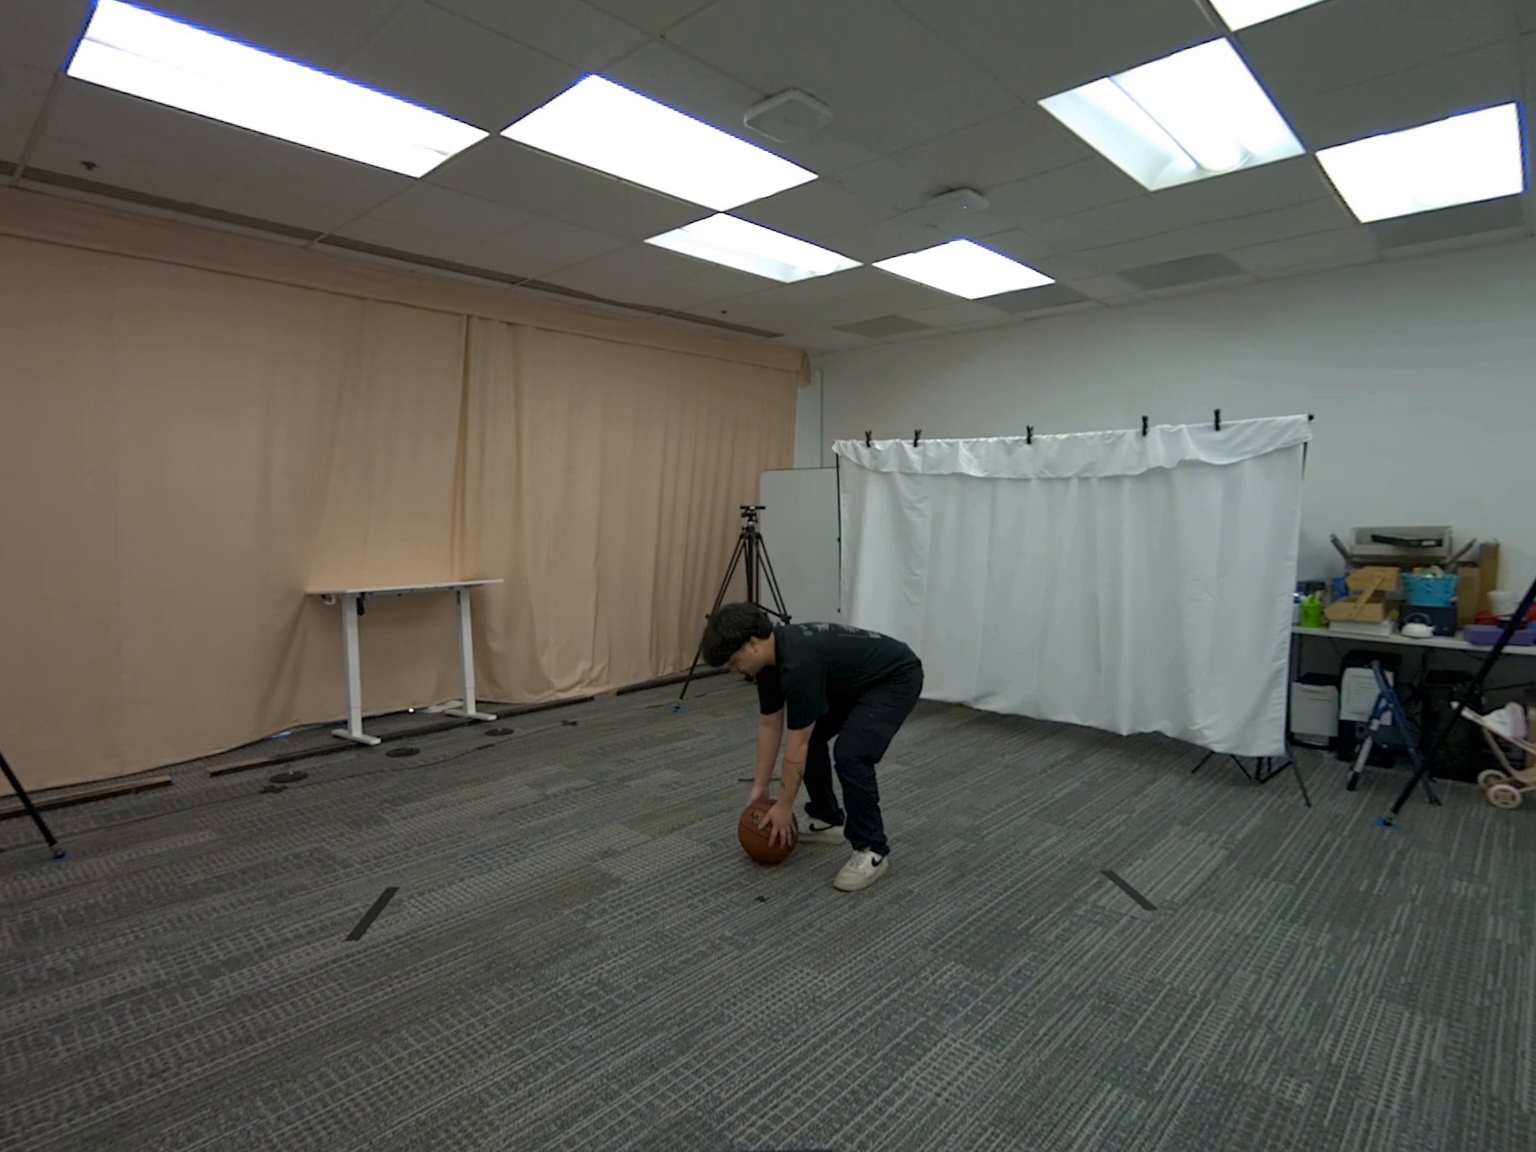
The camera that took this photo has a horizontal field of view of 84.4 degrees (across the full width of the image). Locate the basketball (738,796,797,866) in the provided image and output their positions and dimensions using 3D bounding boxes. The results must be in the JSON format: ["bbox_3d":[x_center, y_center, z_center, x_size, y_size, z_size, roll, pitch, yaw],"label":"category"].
[{"bbox_3d":[0.008,0.995,3.299,0.236,0.235,0.237,0,4,-2],"label":"basketball"}]
